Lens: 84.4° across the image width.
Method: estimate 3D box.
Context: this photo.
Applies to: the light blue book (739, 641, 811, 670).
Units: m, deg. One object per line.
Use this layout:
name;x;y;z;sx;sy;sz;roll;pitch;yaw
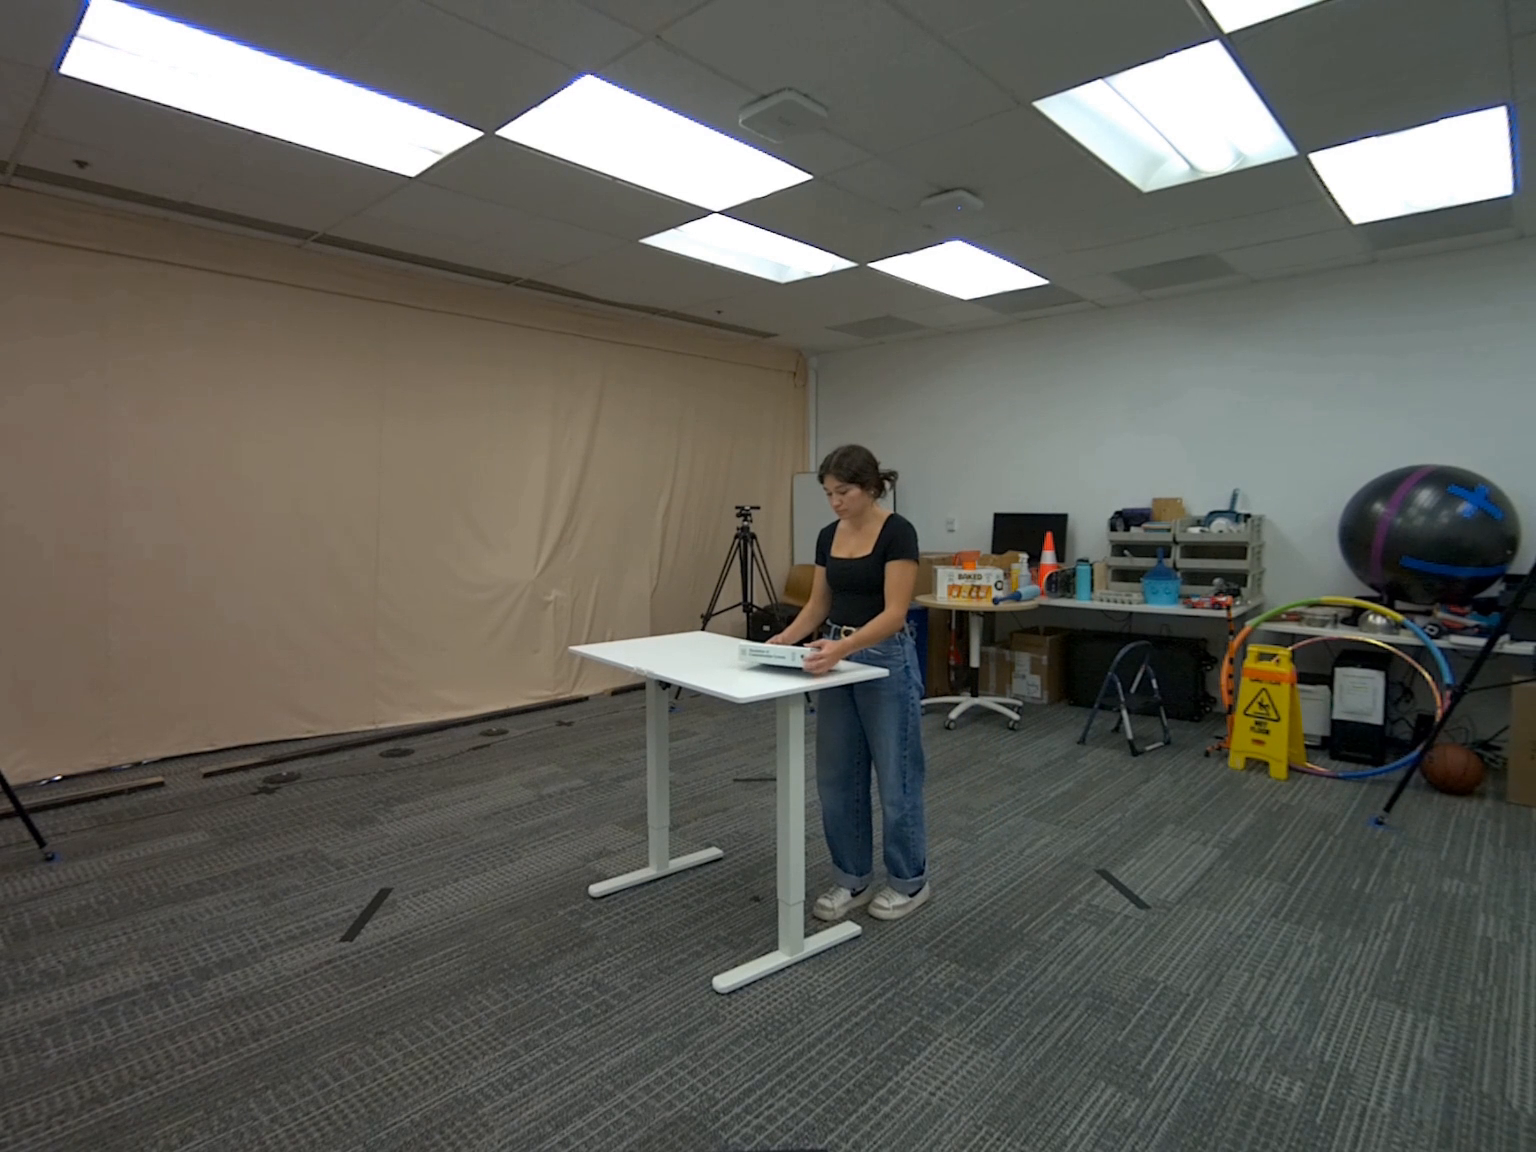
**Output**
light blue book;0.070;0.251;2.629;0.269;0.059;0.185;3;-3;34
